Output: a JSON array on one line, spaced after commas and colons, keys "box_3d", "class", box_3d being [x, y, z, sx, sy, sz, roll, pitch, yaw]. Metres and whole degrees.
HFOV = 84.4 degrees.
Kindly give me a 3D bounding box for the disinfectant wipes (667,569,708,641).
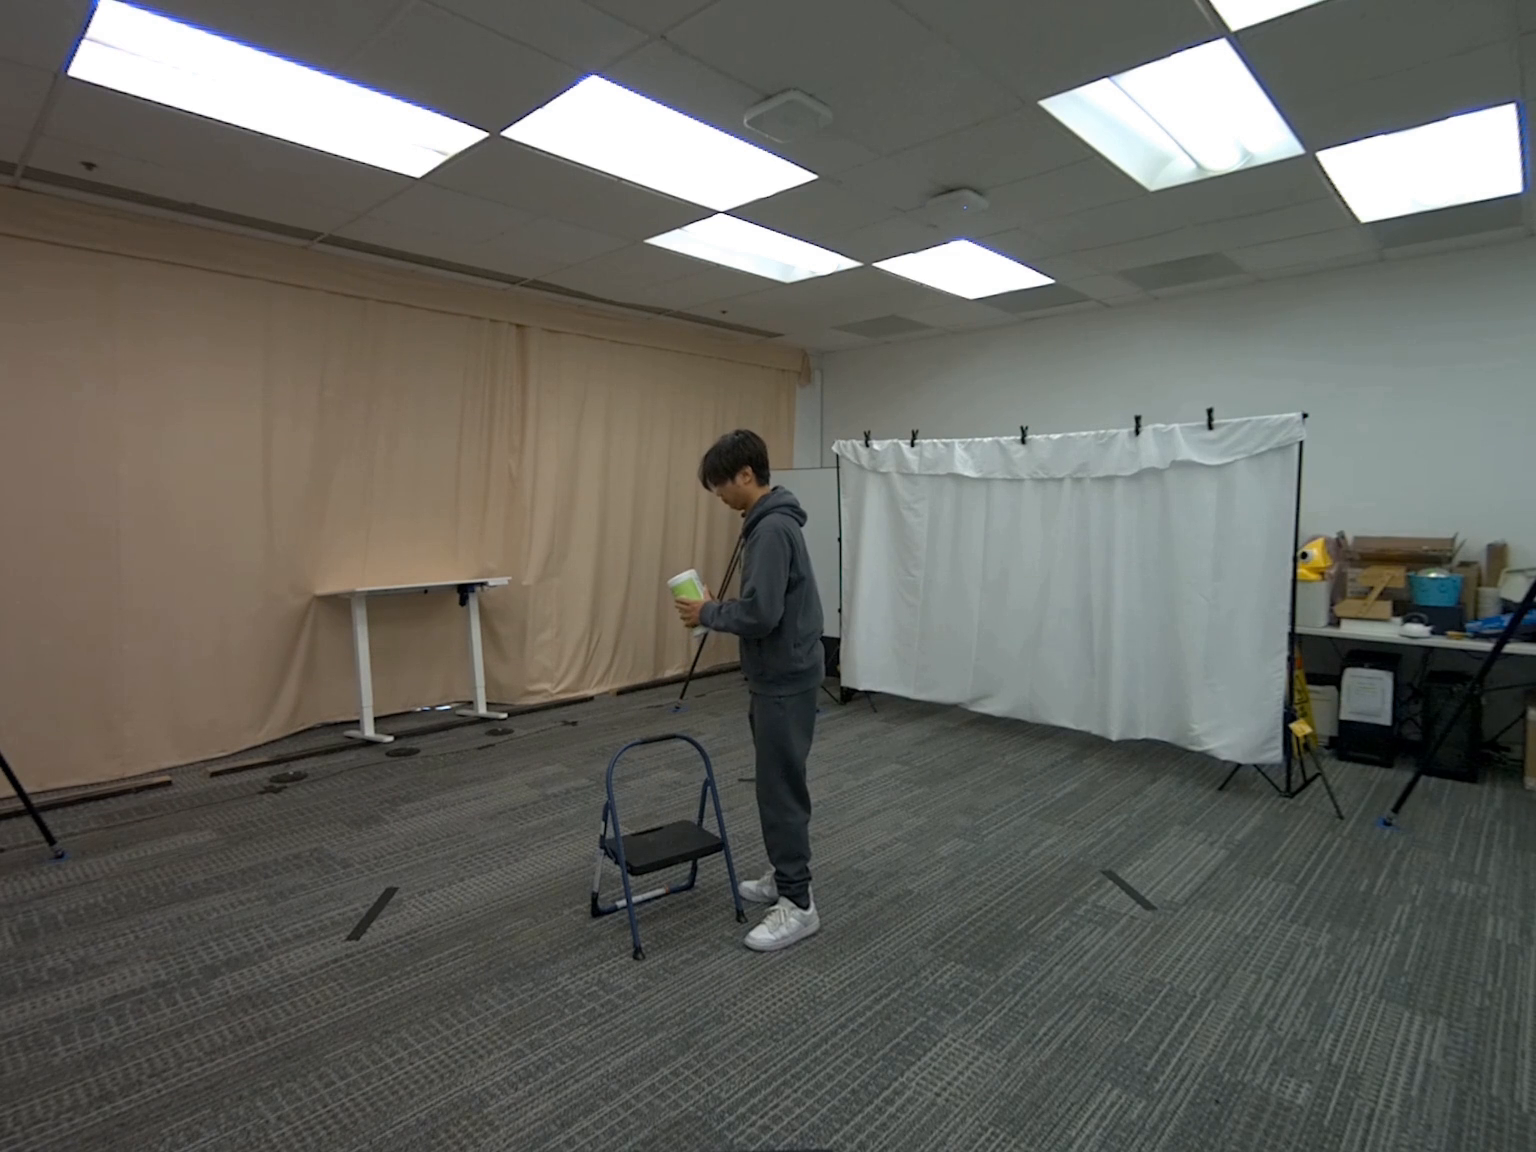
[{"box_3d": [-0.251, 0.100, 2.901, 0.117, 0.219, 0.117, -25, -5, -4], "class": "disinfectant wipes"}]
